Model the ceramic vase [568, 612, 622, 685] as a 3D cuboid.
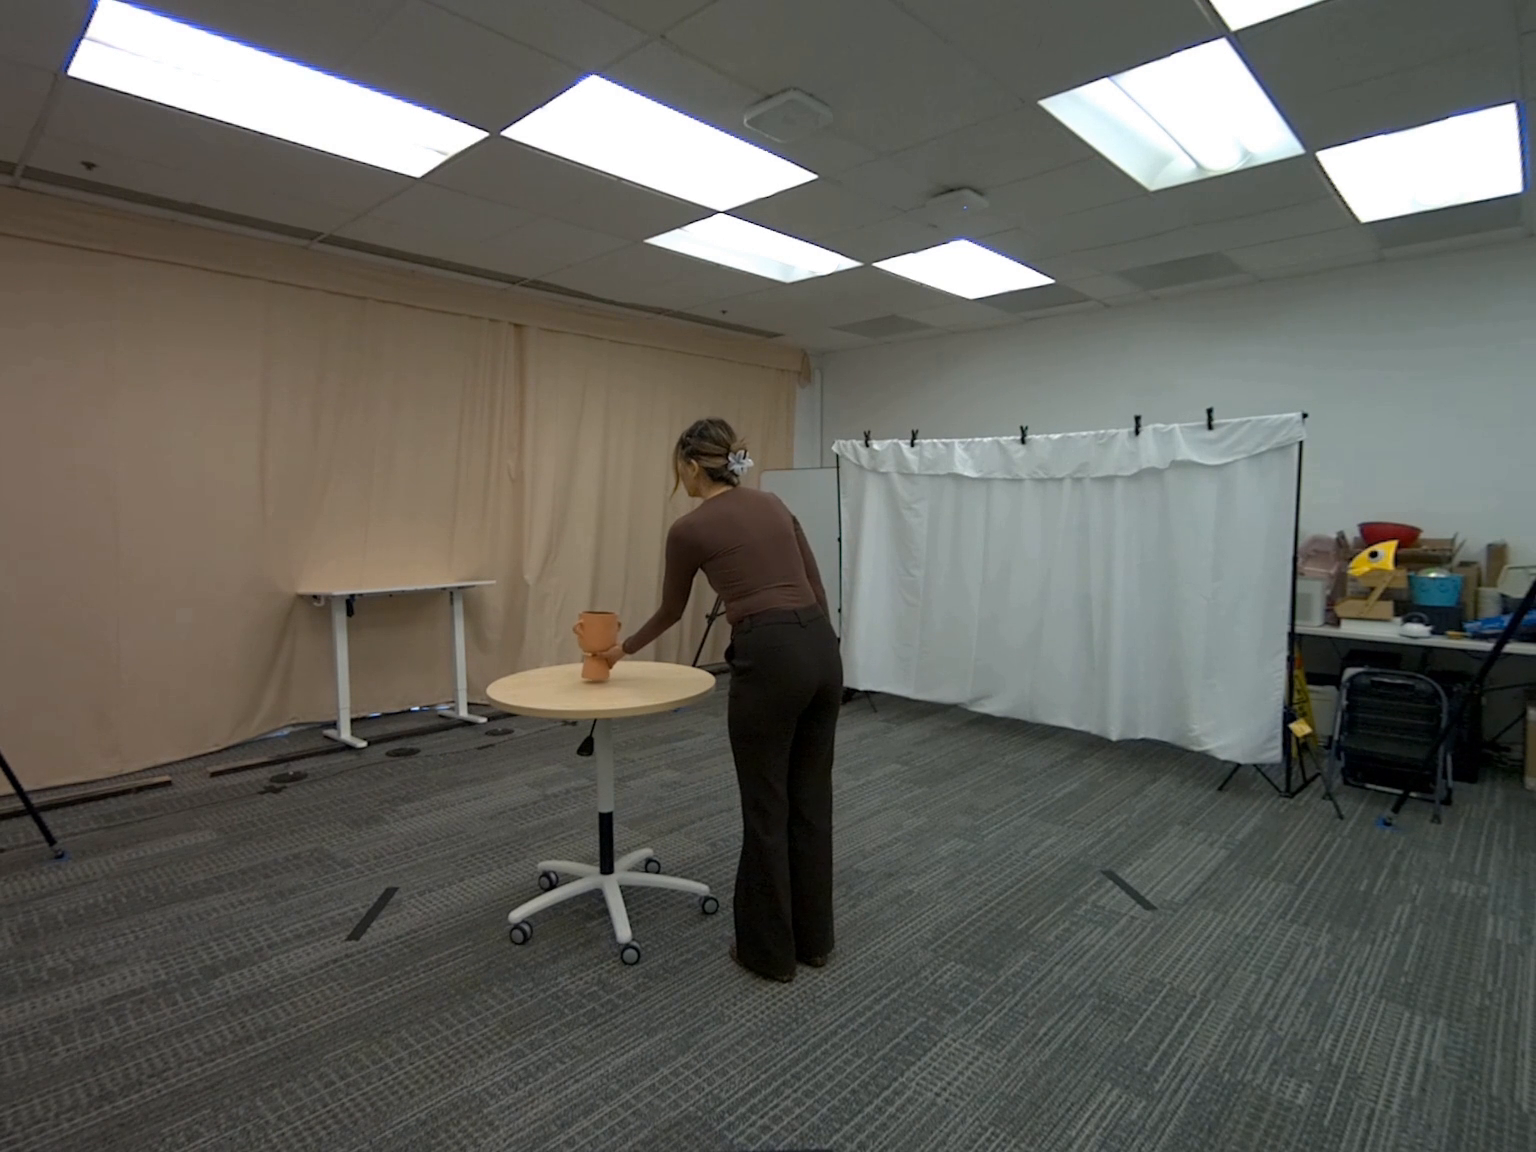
[{"bbox_3d":[-0.579,0.238,2.838,0.158,0.219,0.136,2,2,-7],"label":"ceramic vase"}]
